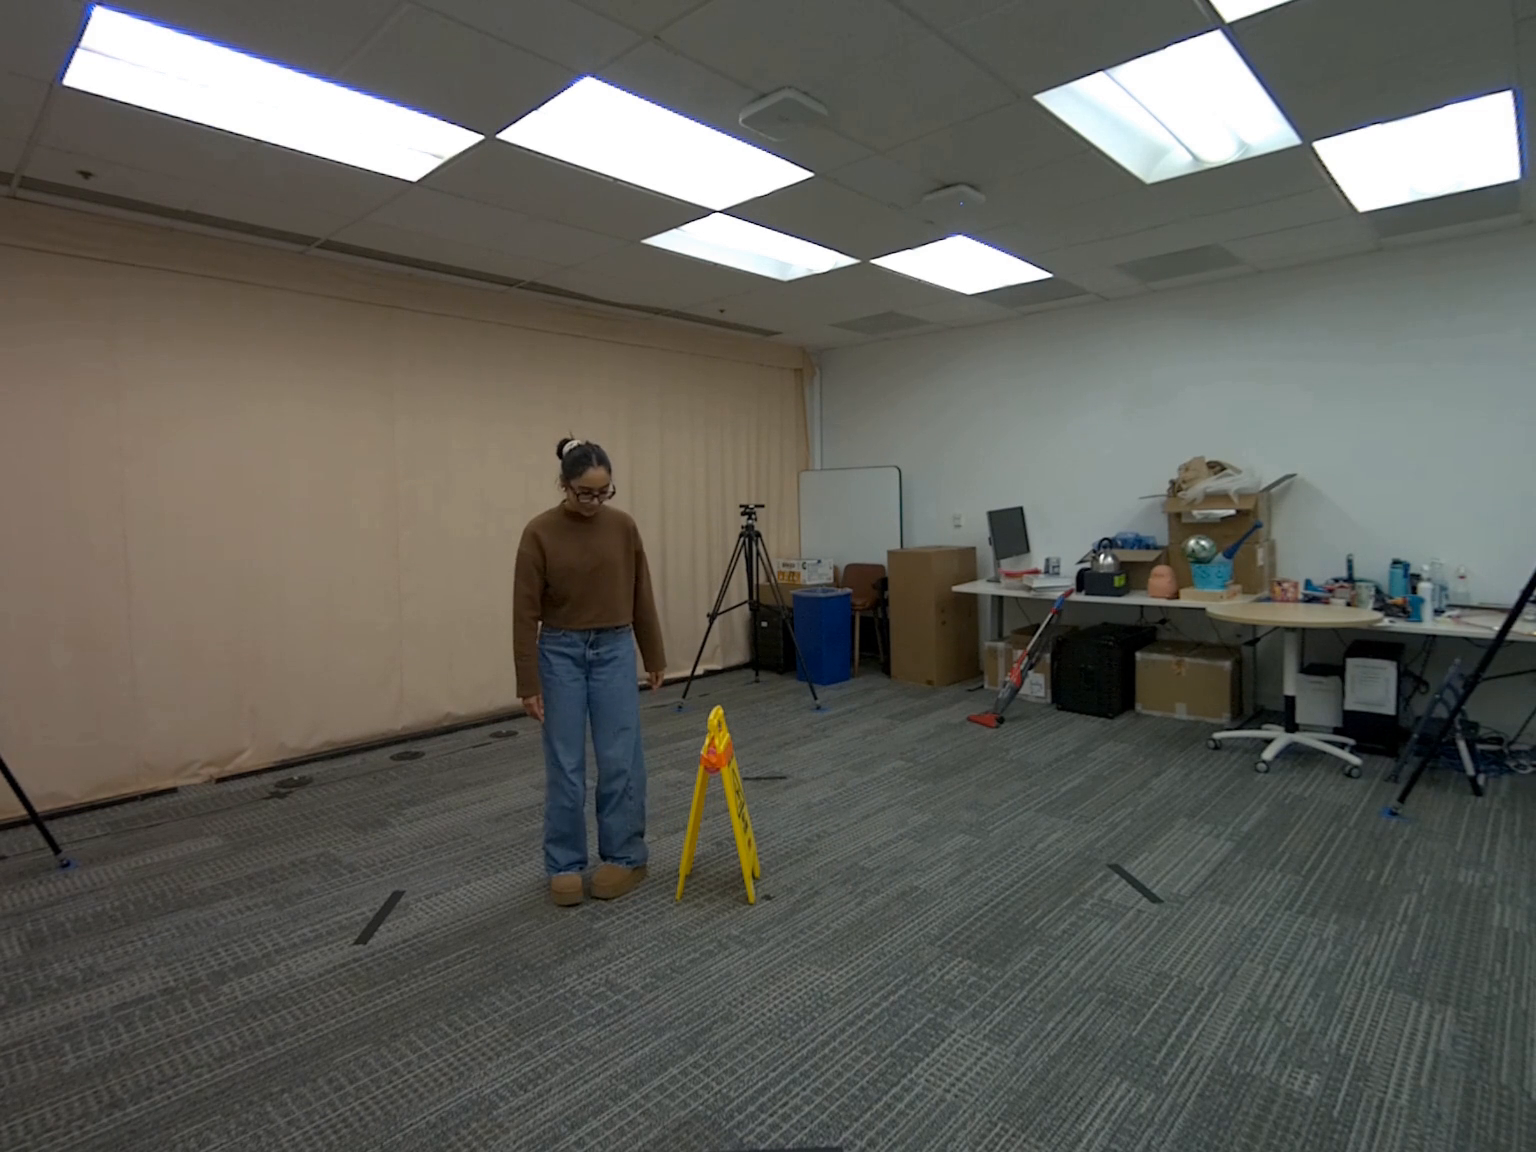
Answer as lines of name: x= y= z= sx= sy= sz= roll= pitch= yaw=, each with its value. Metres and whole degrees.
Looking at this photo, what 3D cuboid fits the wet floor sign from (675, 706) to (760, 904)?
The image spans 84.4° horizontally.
wet floor sign: x=-0.186 y=0.820 z=3.054 sx=0.292 sy=0.645 sz=0.280 roll=-1 pitch=3 yaw=7
